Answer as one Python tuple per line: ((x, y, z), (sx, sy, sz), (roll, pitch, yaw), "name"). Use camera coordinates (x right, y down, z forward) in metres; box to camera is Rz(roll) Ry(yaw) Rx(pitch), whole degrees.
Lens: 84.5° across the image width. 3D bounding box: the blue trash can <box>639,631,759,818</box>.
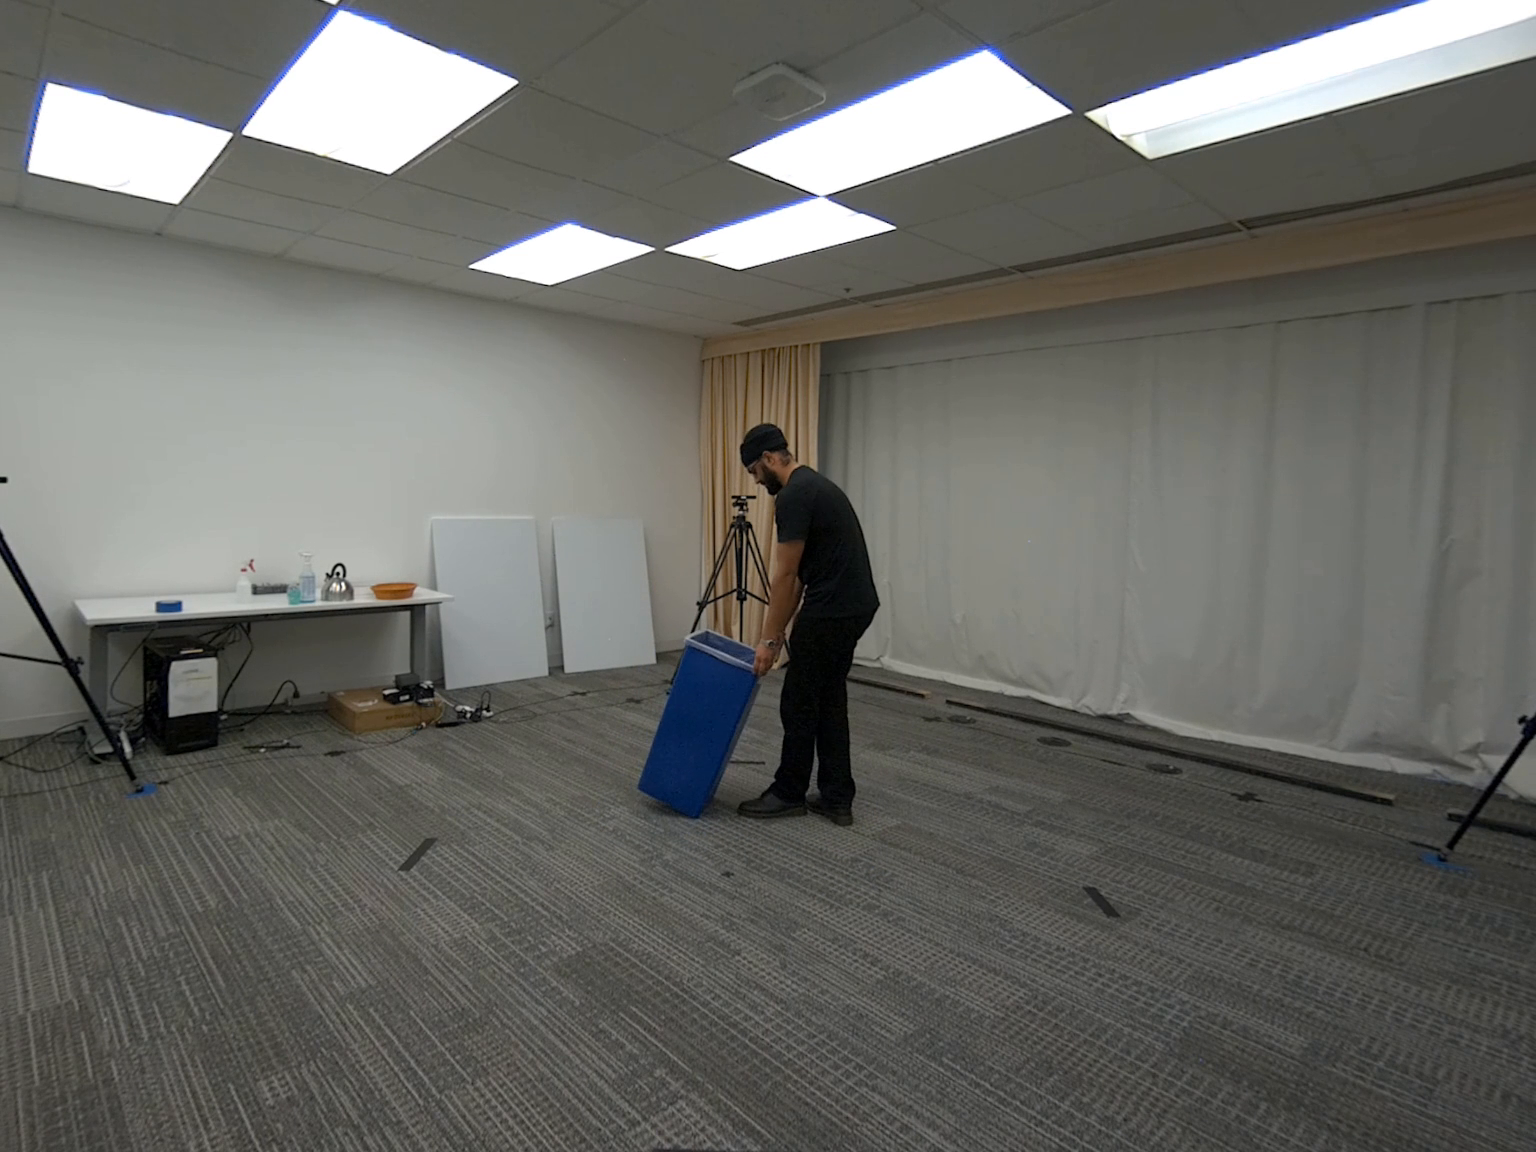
((-0.285, 0.652, 3.763), (0.378, 0.712, 0.375), (21, 6, 9), "blue trash can")
